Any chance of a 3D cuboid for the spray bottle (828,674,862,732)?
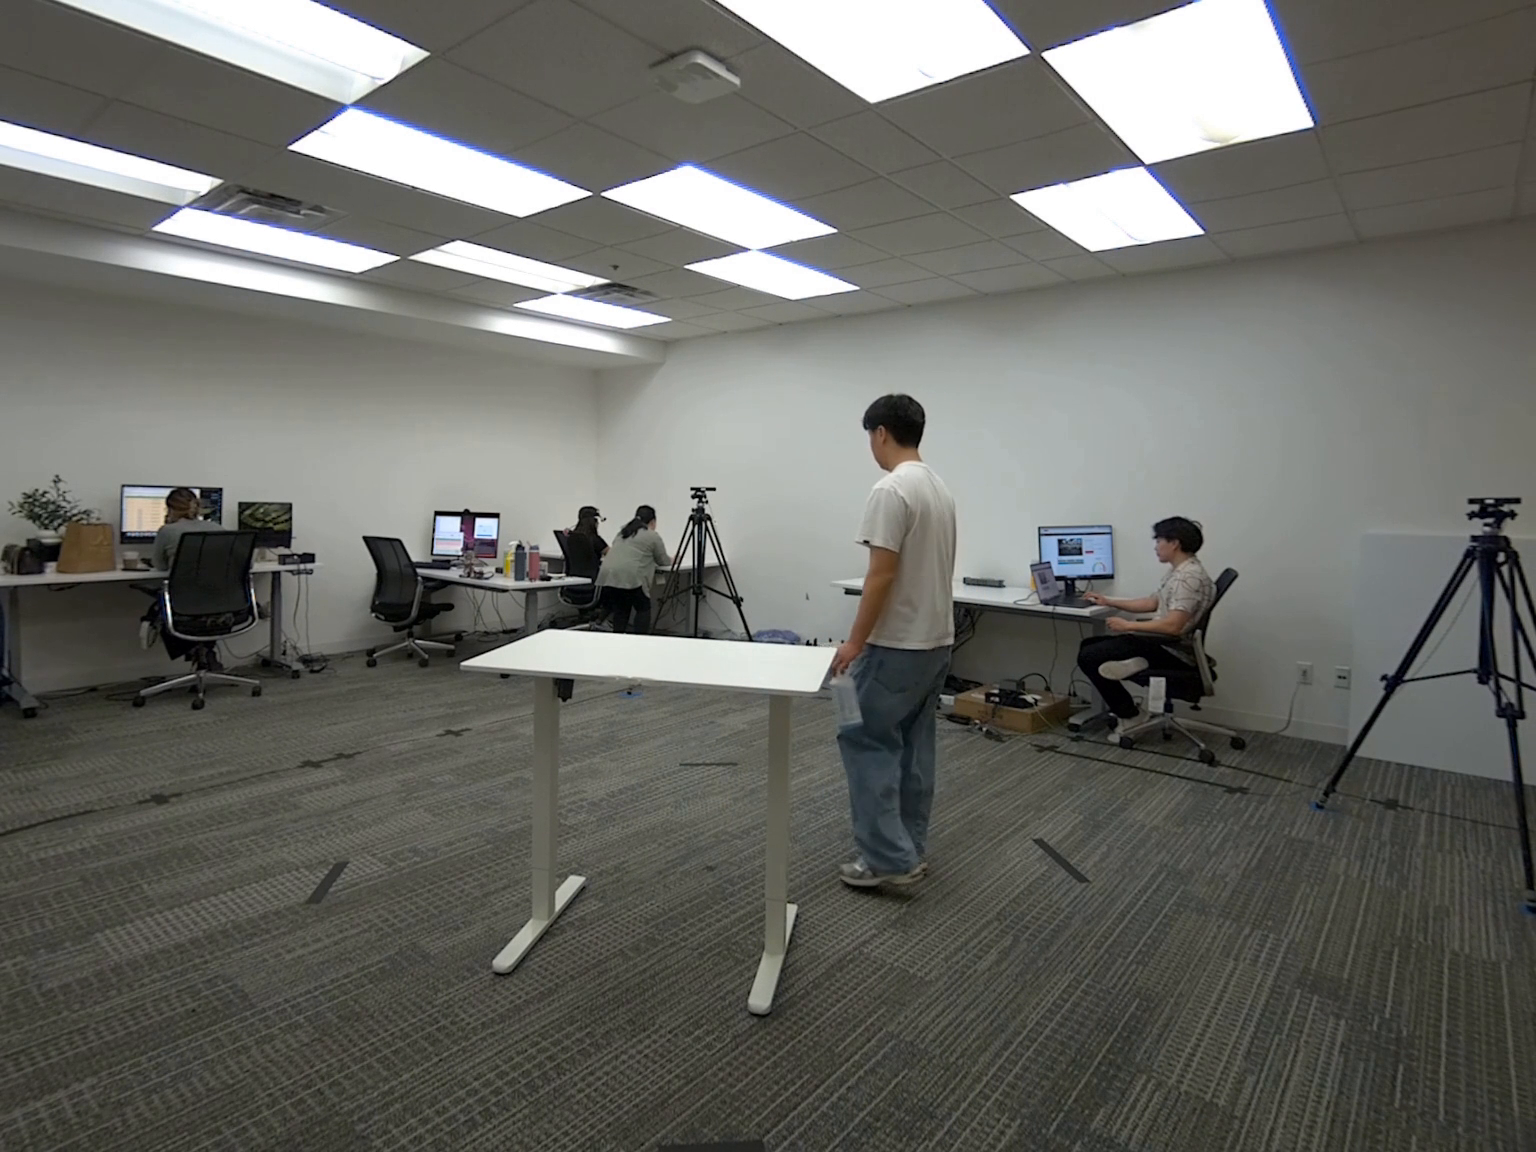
[{"bbox_3d":[0.260,0.378,2.938,0.090,0.300,0.086,-13,-7,3],"label":"spray bottle"}]
